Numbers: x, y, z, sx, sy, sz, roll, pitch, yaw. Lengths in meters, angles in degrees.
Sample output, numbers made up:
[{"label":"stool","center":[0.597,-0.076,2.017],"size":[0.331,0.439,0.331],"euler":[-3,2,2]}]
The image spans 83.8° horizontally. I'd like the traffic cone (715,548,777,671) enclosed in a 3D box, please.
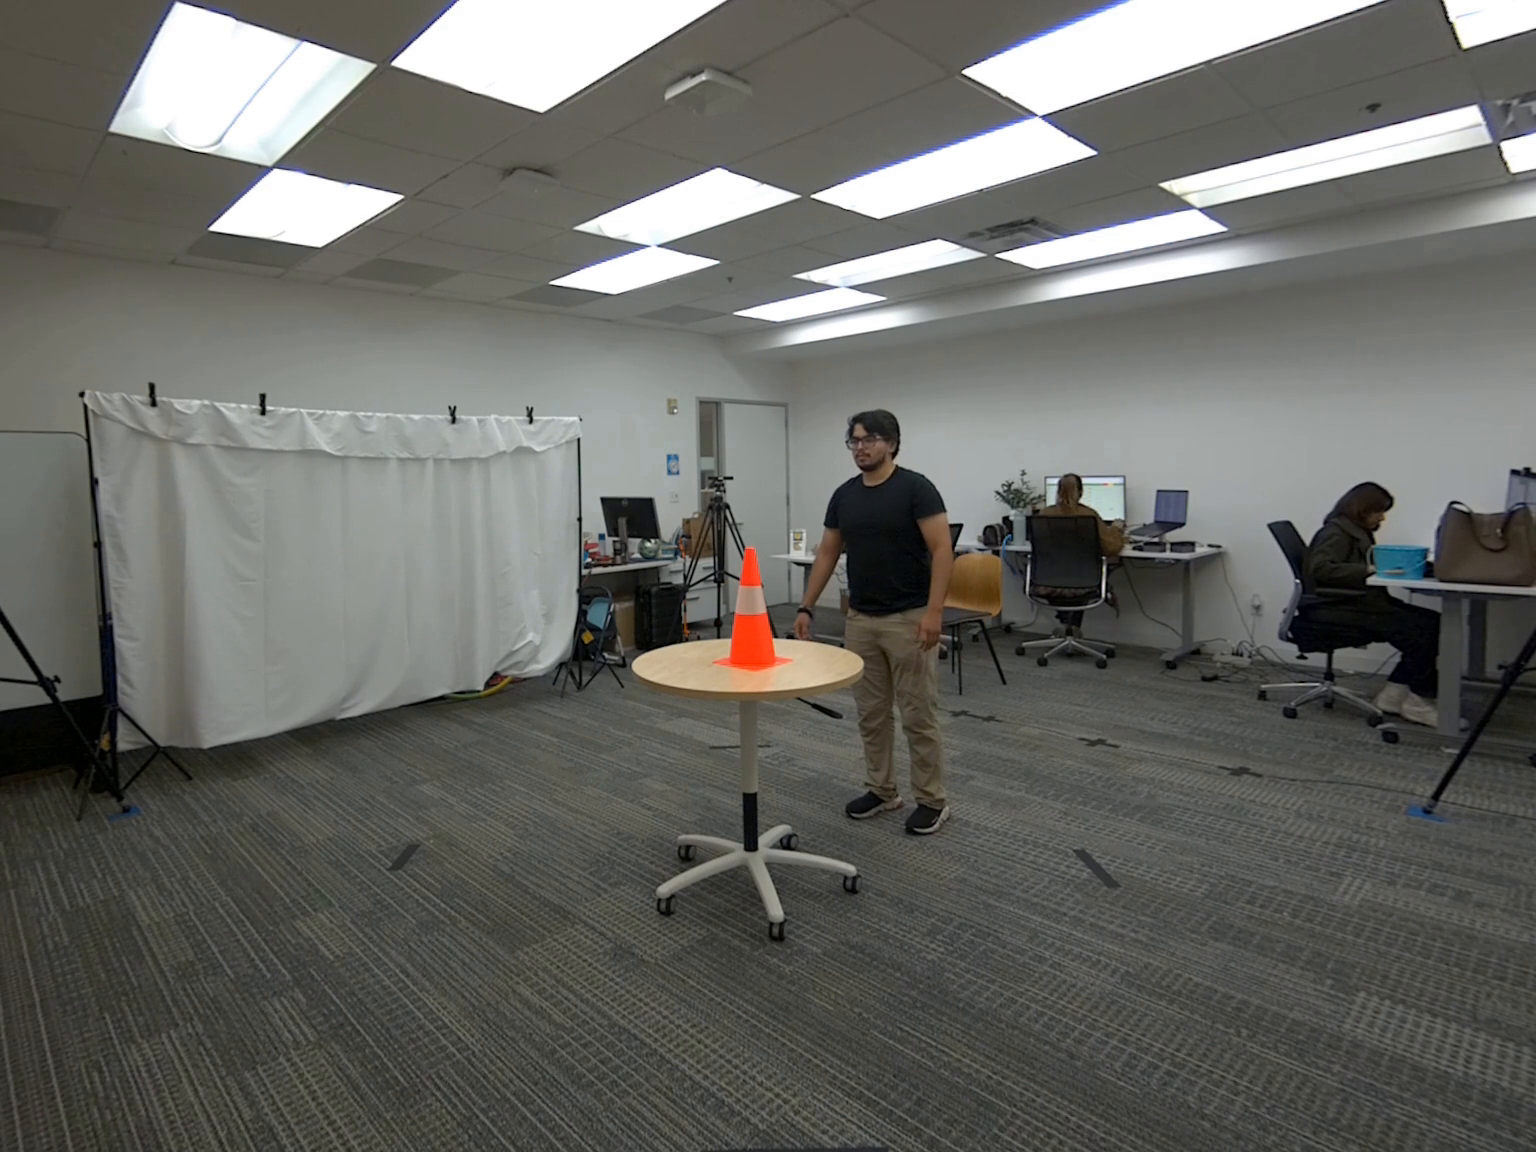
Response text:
[{"label":"traffic cone","center":[-0.057,0.101,2.817],"size":[0.209,0.382,0.200],"euler":[1,7,34]}]
